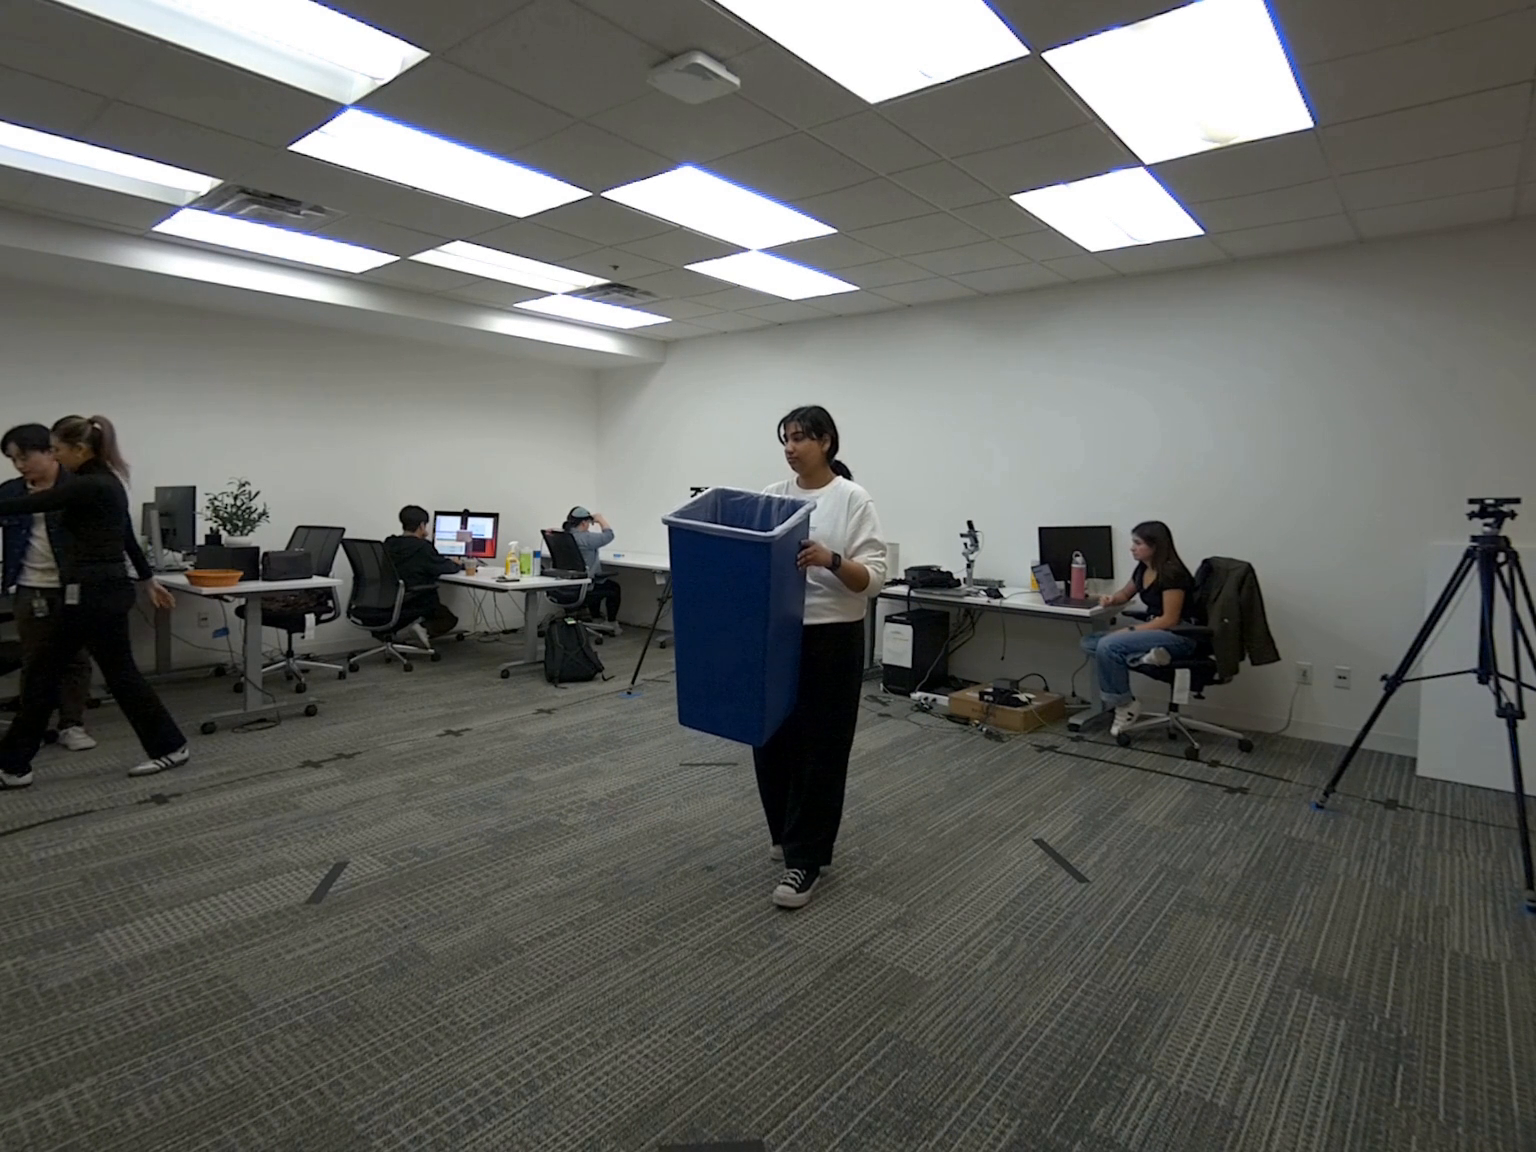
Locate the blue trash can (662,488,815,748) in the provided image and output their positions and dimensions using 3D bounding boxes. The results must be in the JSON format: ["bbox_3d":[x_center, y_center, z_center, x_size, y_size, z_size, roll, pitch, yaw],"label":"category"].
[{"bbox_3d":[-0.097,0.122,2.676,0.388,0.701,0.371,9,20,22],"label":"blue trash can"}]
